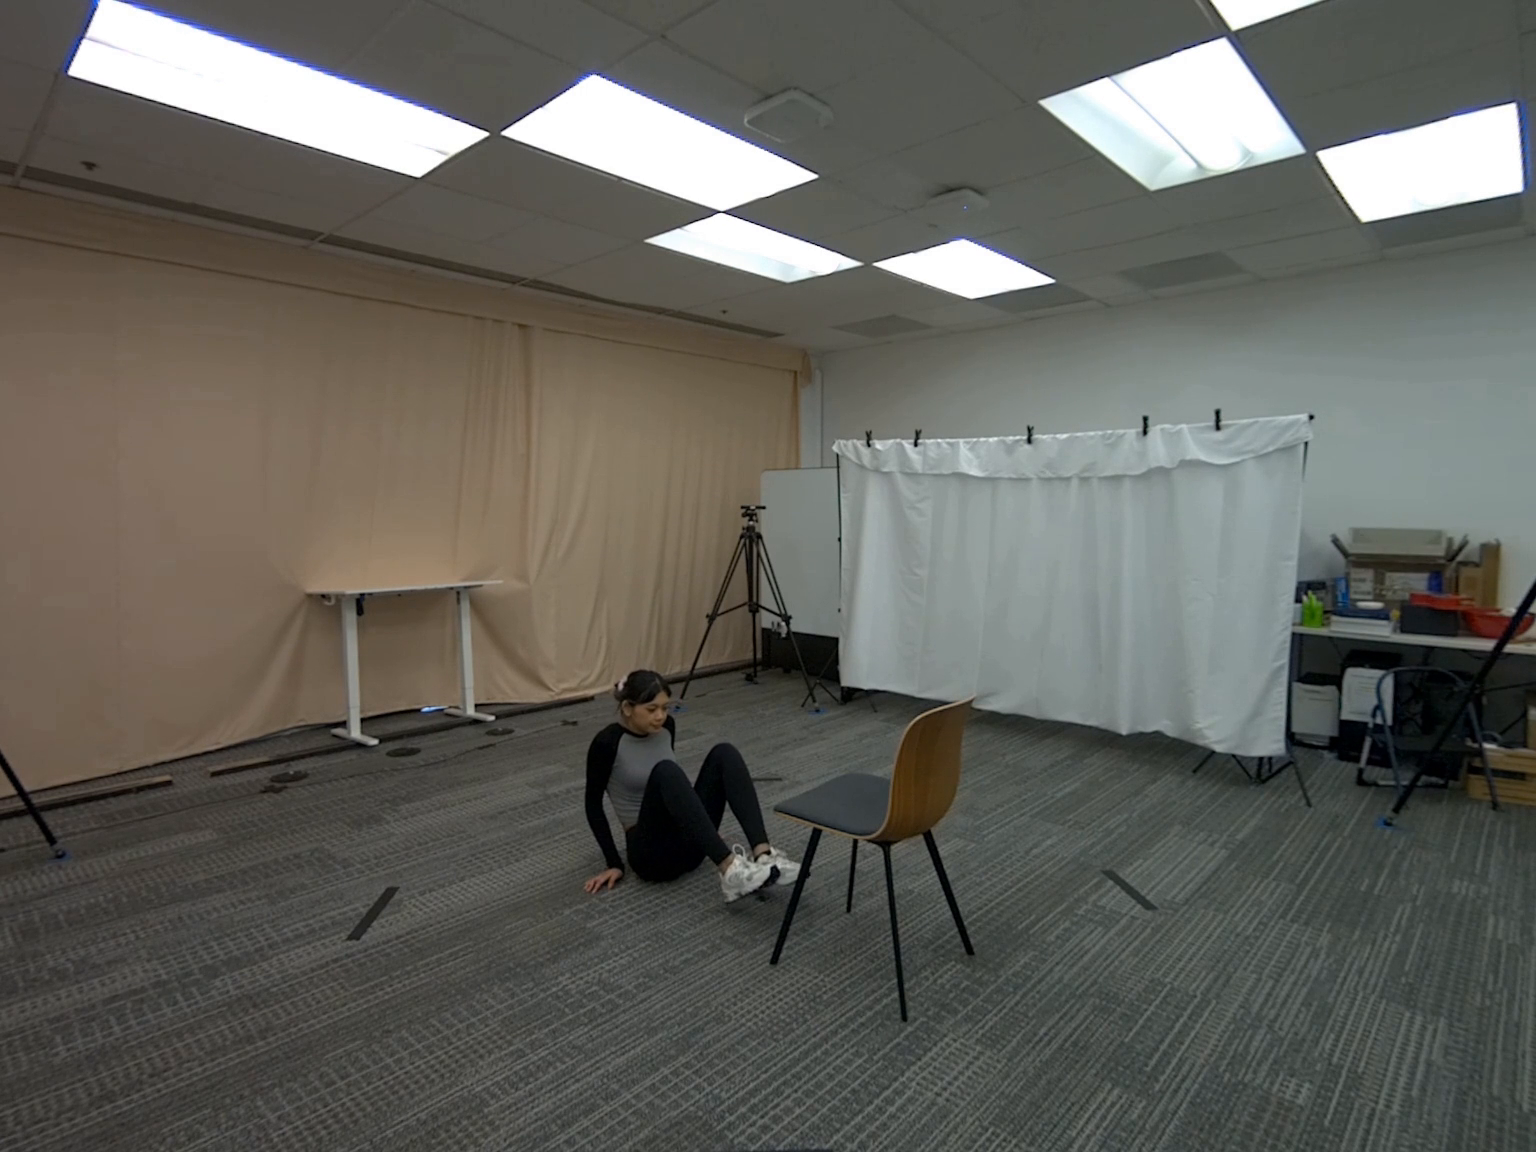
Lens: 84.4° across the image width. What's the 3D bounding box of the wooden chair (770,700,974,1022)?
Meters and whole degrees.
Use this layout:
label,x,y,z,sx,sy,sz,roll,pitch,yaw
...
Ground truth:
label,x,y,z,sx,sy,sz,roll,pitch,yaw
wooden chair,0.320,0.750,2.558,0.541,0.874,0.464,8,8,38
